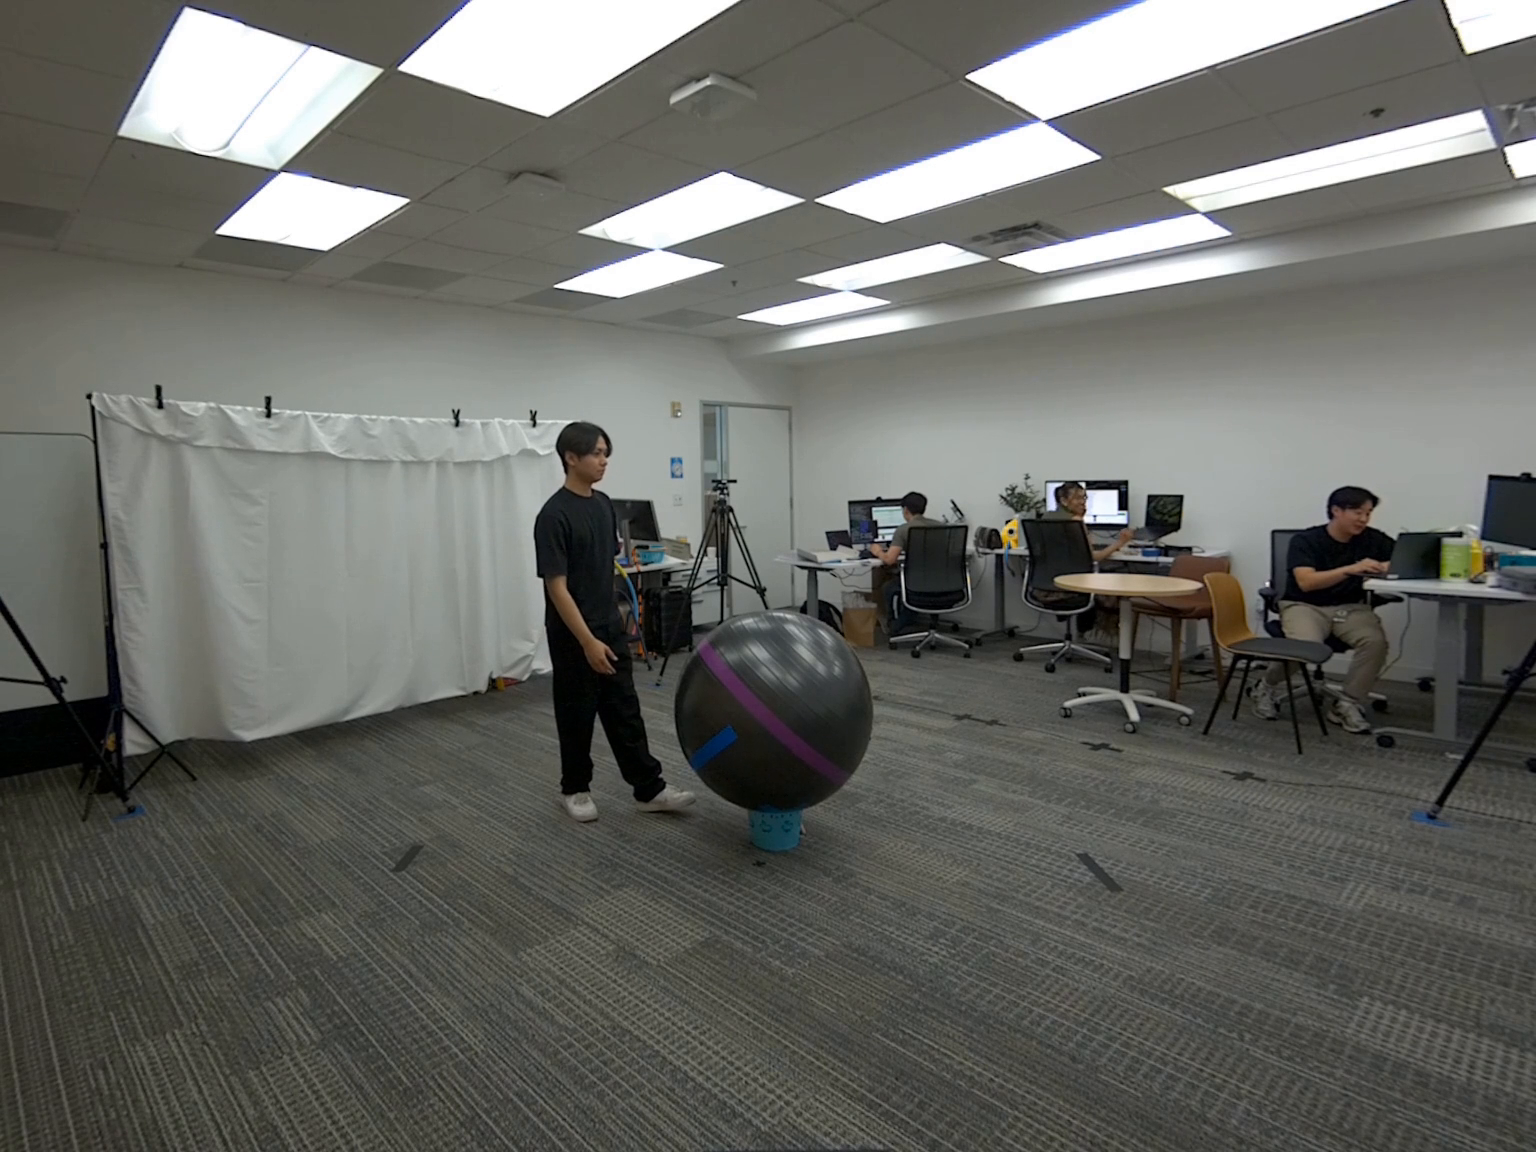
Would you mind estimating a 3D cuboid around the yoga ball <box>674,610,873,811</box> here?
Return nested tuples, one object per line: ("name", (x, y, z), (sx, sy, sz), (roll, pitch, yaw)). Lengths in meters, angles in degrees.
("yoga ball", (0.029, 0.517, 3.284), (0.757, 0.755, 0.762), (-1, 5, -2))
